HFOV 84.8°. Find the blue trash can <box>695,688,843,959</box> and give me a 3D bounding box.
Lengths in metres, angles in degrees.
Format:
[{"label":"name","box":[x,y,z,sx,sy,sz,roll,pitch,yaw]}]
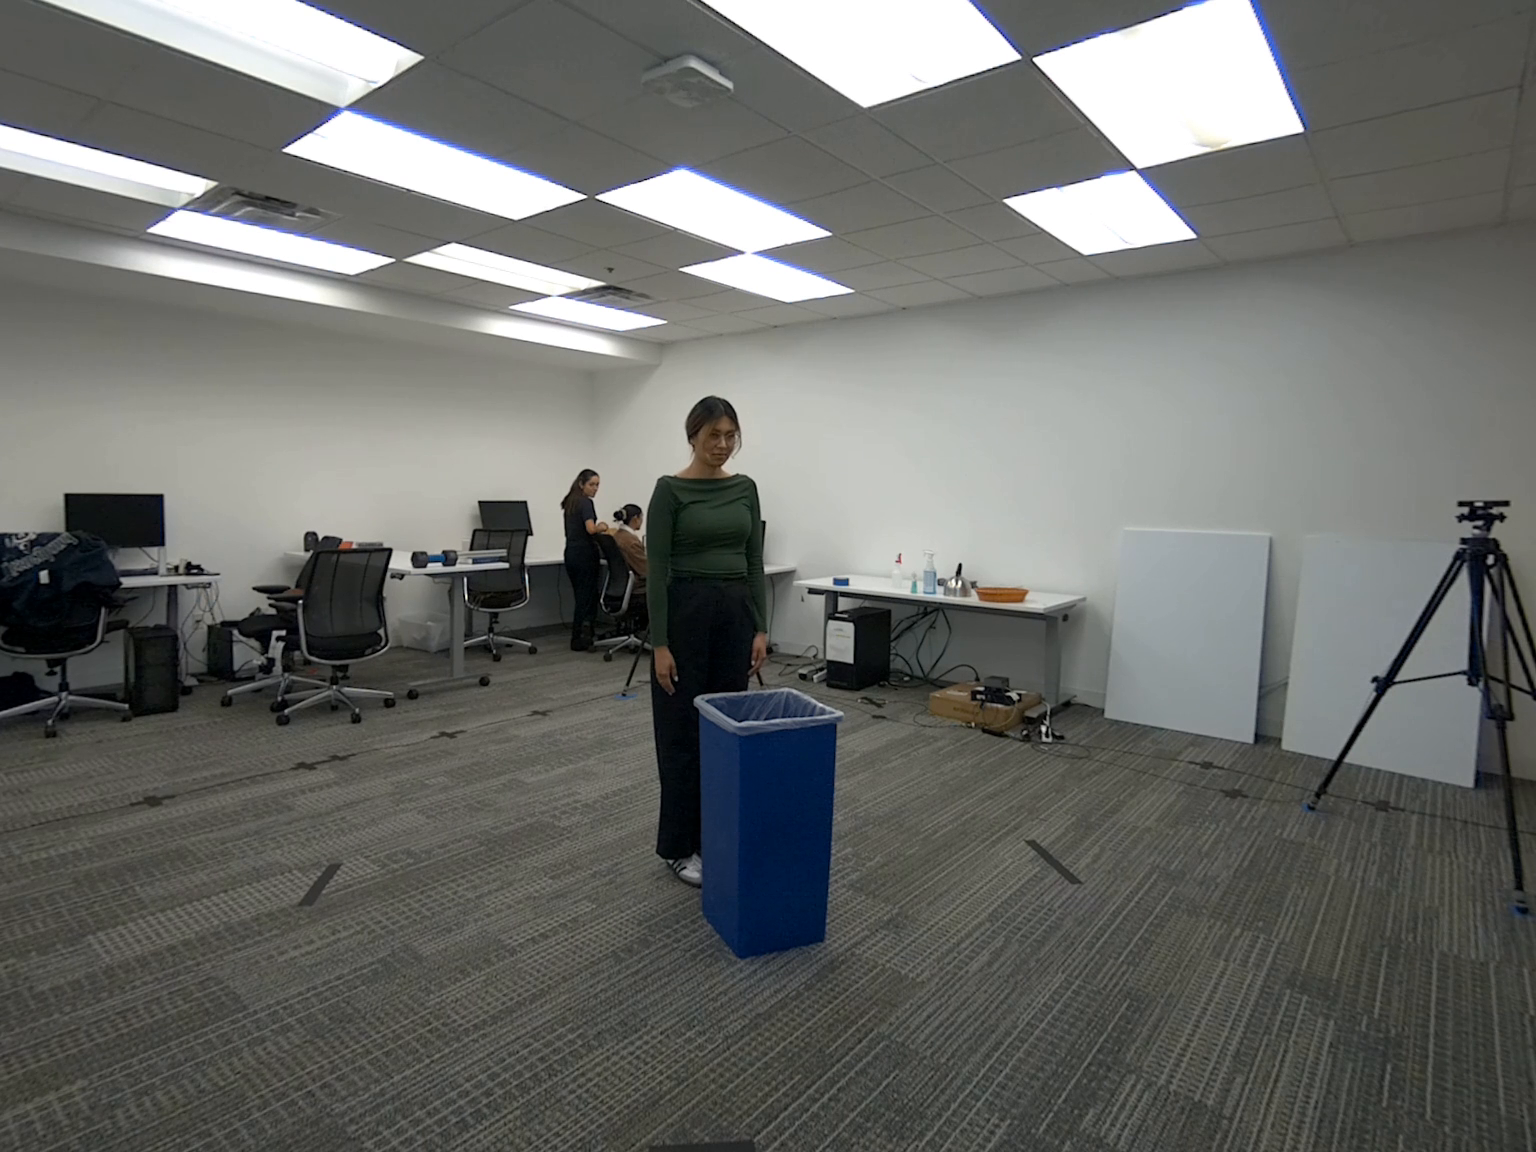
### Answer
[{"label":"blue trash can","box":[-0.013,0.758,2.695,0.369,0.712,0.384,-1,3,-26]}]
